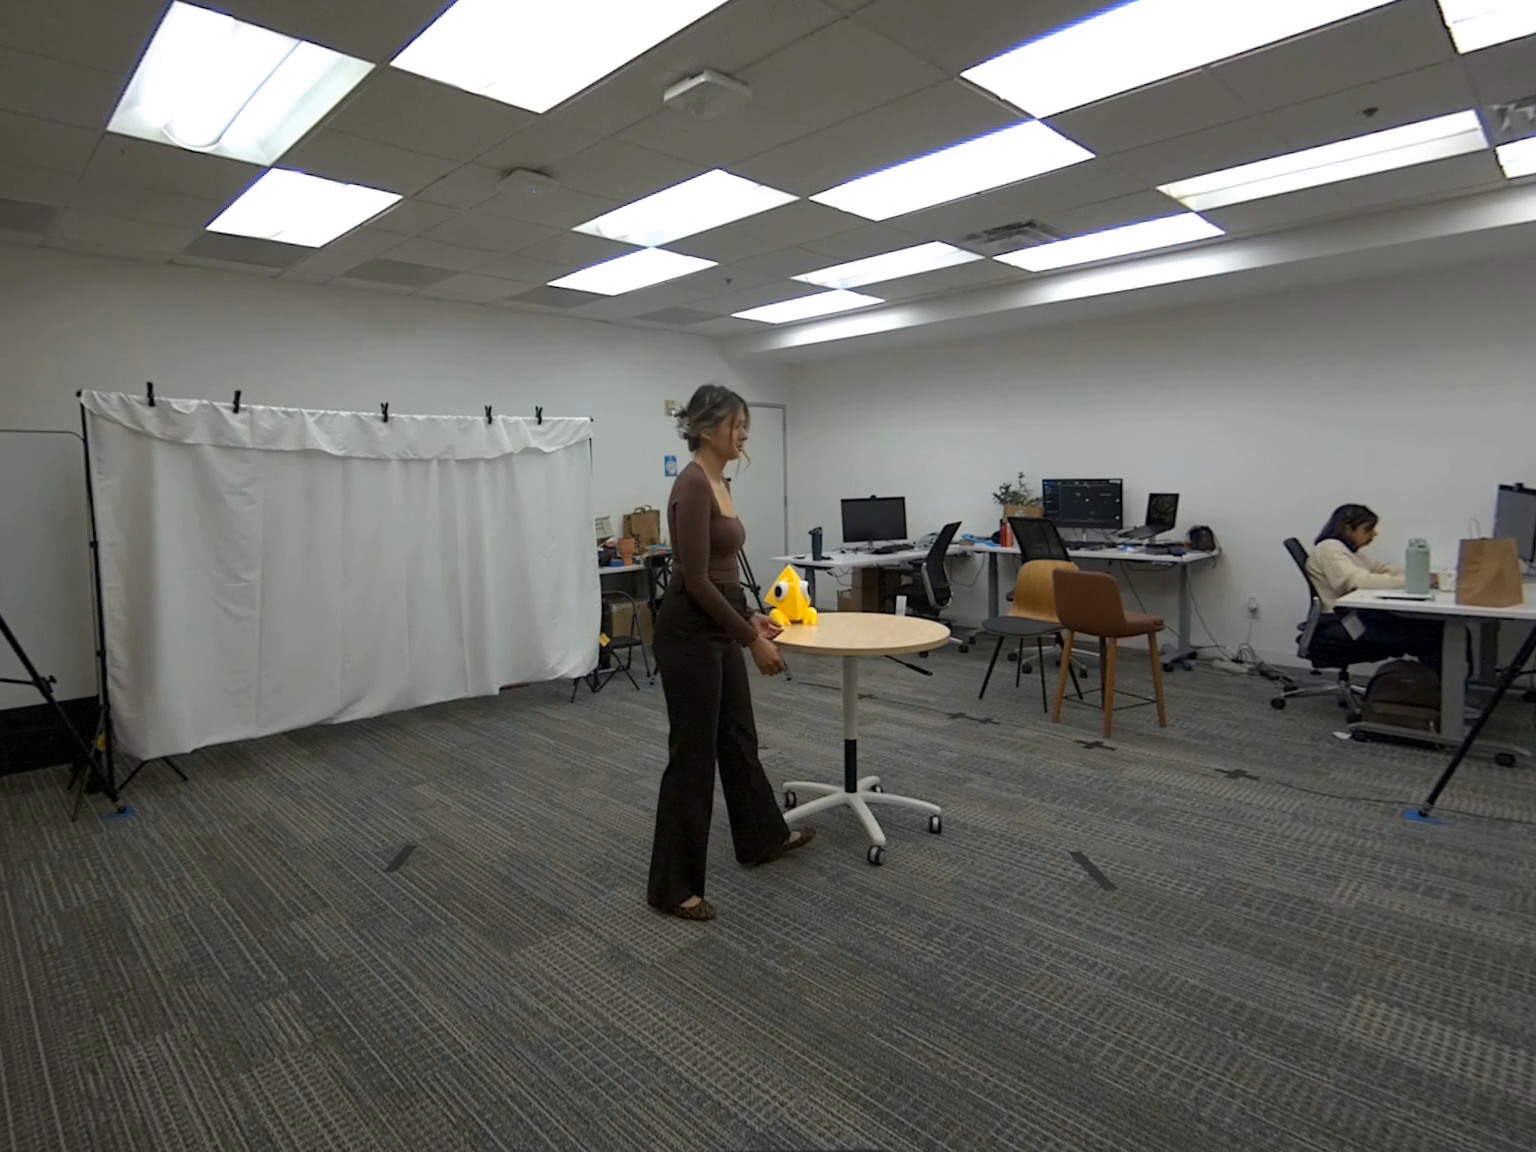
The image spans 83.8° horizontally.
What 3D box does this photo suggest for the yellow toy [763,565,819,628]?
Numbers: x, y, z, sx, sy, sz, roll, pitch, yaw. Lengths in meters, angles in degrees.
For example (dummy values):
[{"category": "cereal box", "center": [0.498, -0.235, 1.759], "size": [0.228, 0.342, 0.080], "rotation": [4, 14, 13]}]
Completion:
[{"category": "yellow toy", "center": [0.108, 0.076, 3.540], "size": [0.202, 0.230, 0.196], "rotation": [-2, 5, -12]}]
